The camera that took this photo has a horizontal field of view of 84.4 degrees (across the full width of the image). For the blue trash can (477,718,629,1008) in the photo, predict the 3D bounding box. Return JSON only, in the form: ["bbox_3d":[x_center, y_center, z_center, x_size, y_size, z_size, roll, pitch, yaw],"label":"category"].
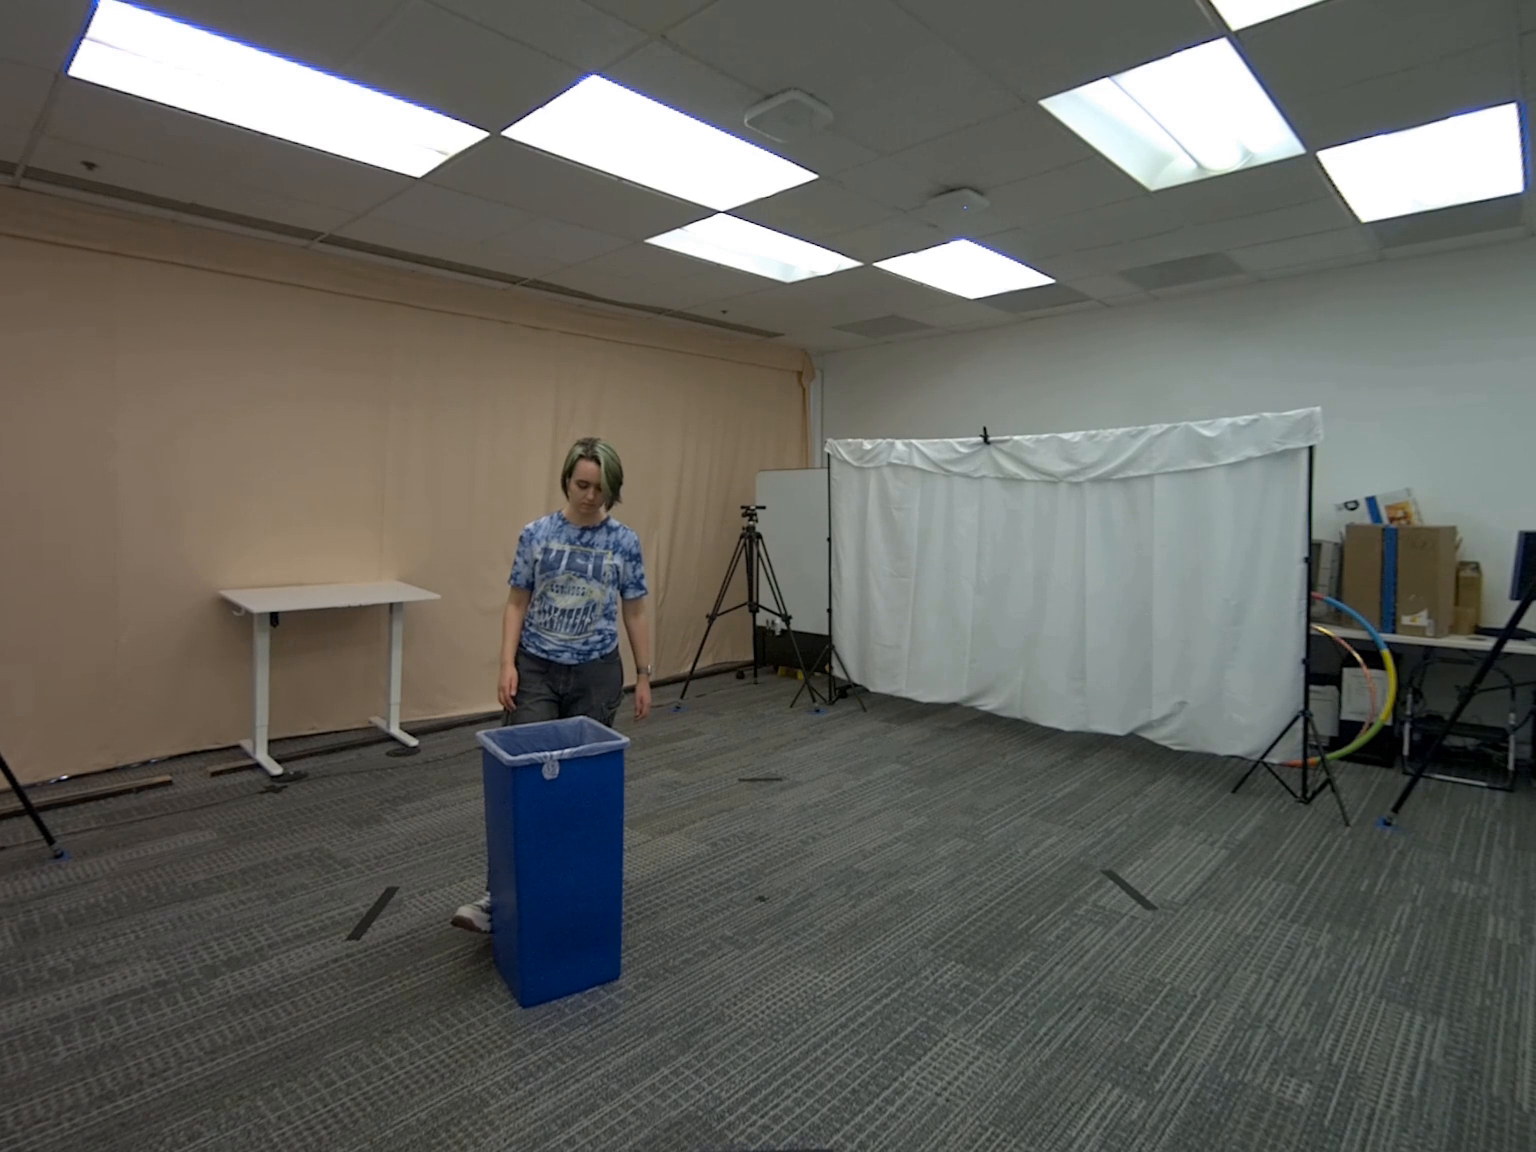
[{"bbox_3d":[-0.649,0.830,2.521,0.367,0.712,0.385,-2,4,-33],"label":"blue trash can"}]
